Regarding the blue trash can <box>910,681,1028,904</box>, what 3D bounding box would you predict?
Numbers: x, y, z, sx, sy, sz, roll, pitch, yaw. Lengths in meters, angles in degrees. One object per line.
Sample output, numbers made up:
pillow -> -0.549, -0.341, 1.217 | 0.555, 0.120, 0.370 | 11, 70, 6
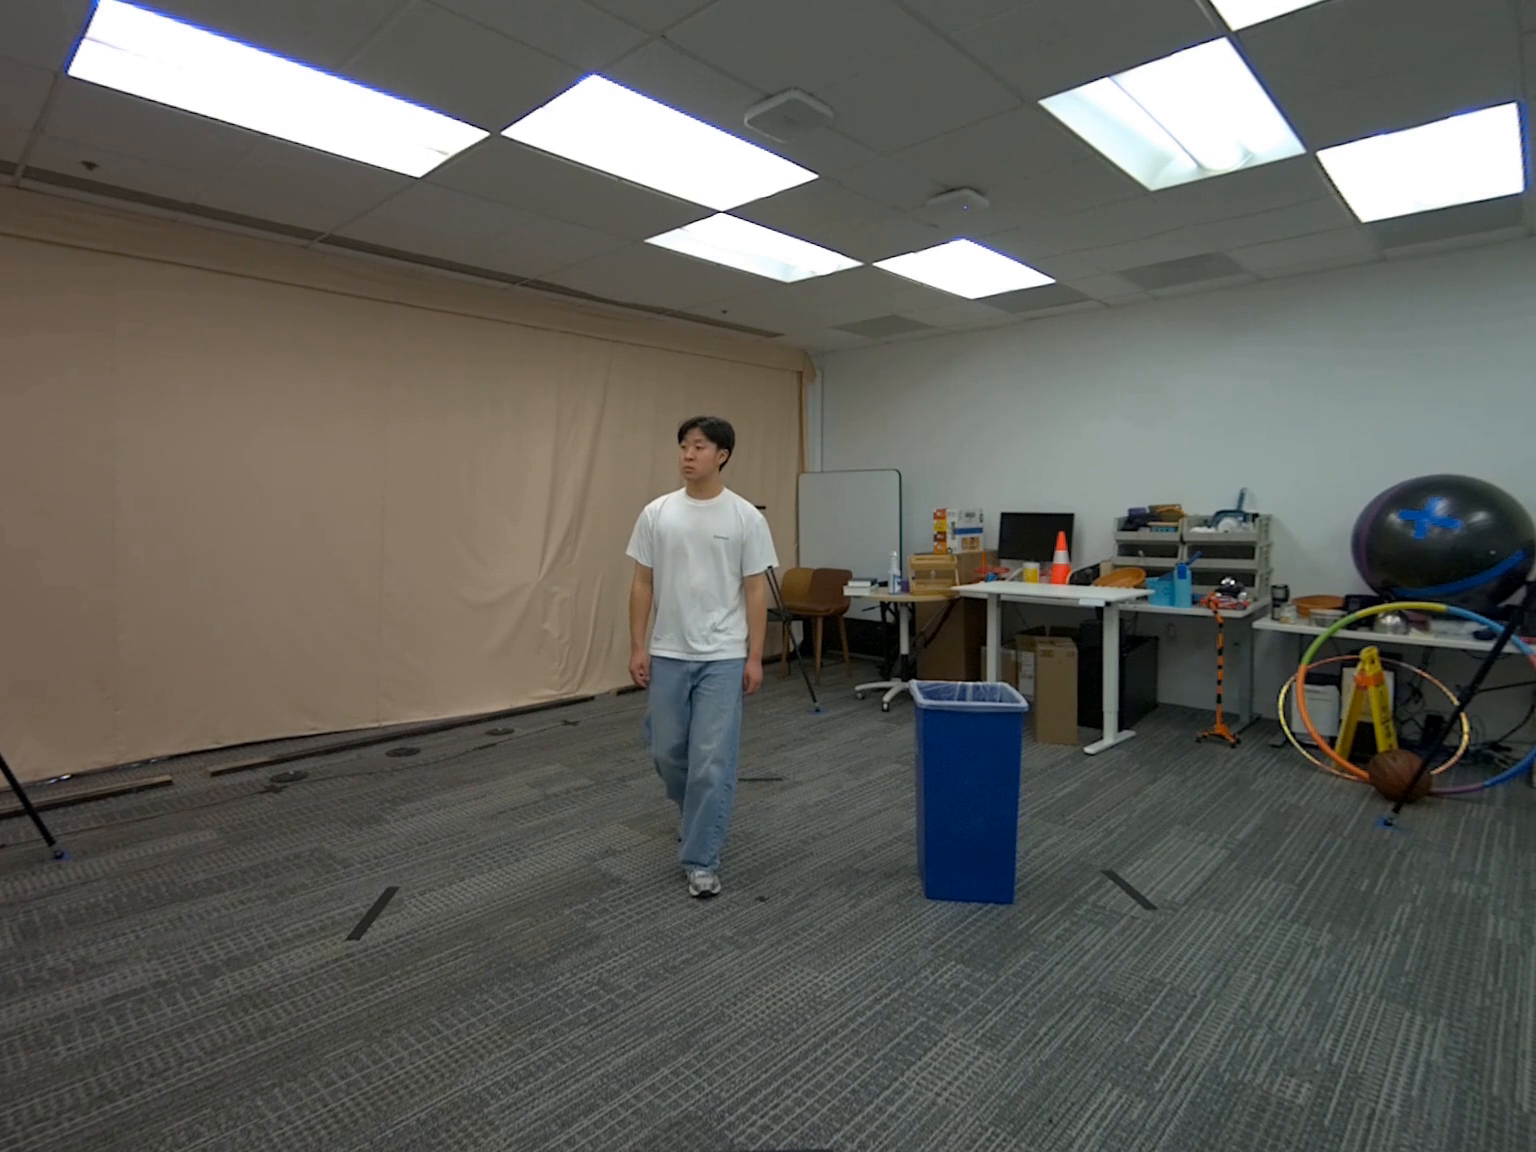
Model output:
blue trash can -> 0.728, 0.777, 3.070 | 0.381, 0.712, 0.372 | 0, 2, 5
